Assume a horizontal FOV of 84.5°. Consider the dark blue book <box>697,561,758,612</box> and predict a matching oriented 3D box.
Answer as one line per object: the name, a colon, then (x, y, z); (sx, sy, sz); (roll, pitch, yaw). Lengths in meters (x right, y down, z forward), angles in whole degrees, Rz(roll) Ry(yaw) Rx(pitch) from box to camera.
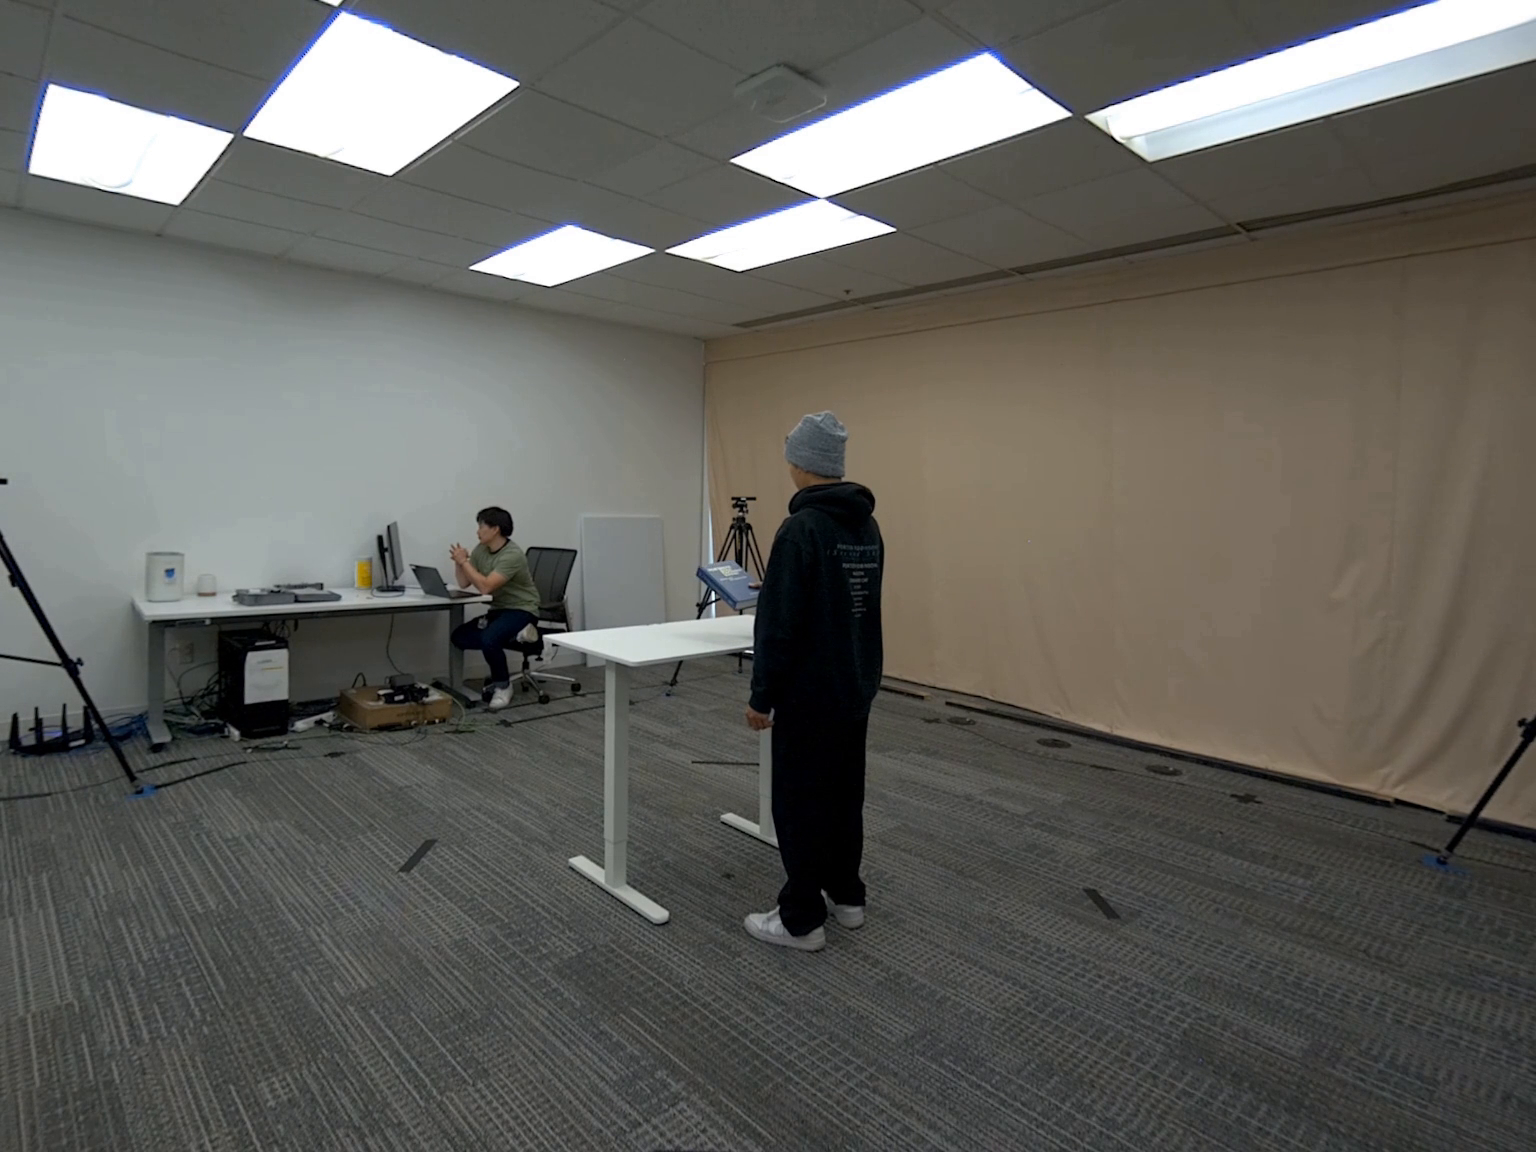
dark blue book: (-0.139, 0.032, 3.098); (0.160, 0.044, 0.253); (-11, 37, -40)
